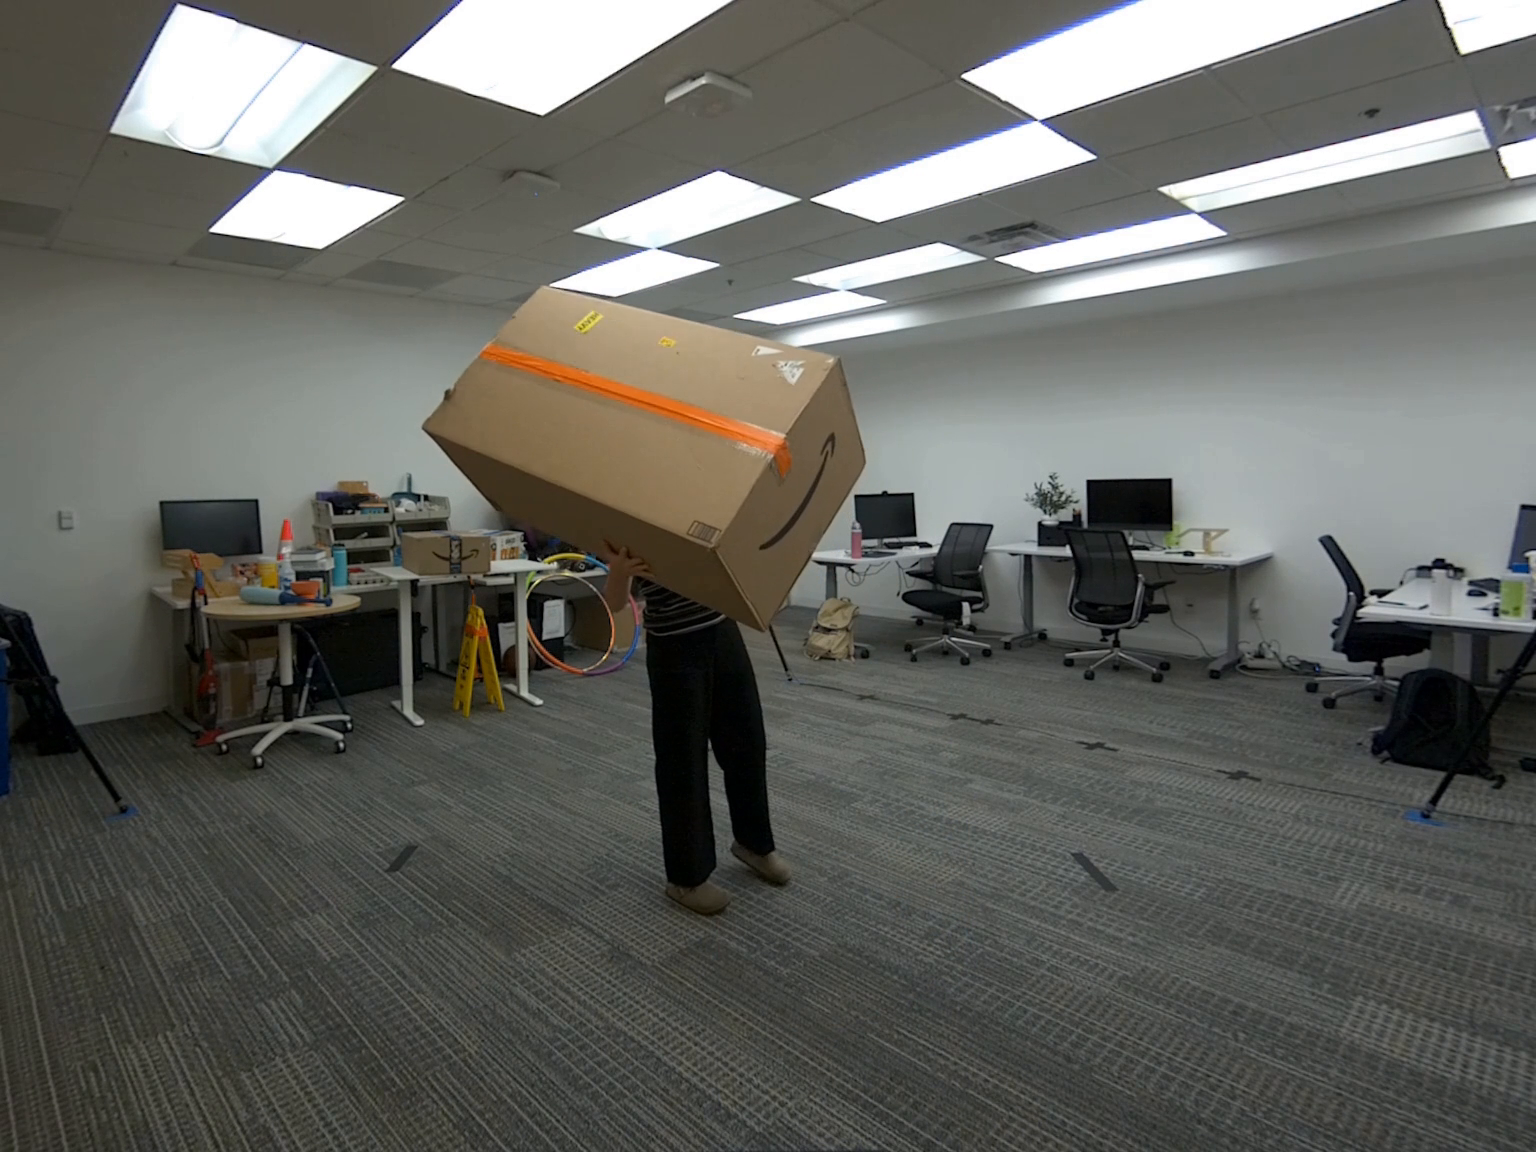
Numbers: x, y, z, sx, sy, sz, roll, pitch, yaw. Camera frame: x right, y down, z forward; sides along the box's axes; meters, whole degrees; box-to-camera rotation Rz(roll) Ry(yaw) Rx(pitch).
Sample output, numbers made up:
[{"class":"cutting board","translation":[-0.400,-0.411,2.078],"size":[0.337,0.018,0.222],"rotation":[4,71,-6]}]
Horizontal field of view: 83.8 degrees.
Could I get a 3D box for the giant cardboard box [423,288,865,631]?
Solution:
[{"class":"giant cardboard box","translation":[-0.332,-0.358,2.353],"size":[1.059,0.580,0.411],"rotation":[22,-23,29]}]
